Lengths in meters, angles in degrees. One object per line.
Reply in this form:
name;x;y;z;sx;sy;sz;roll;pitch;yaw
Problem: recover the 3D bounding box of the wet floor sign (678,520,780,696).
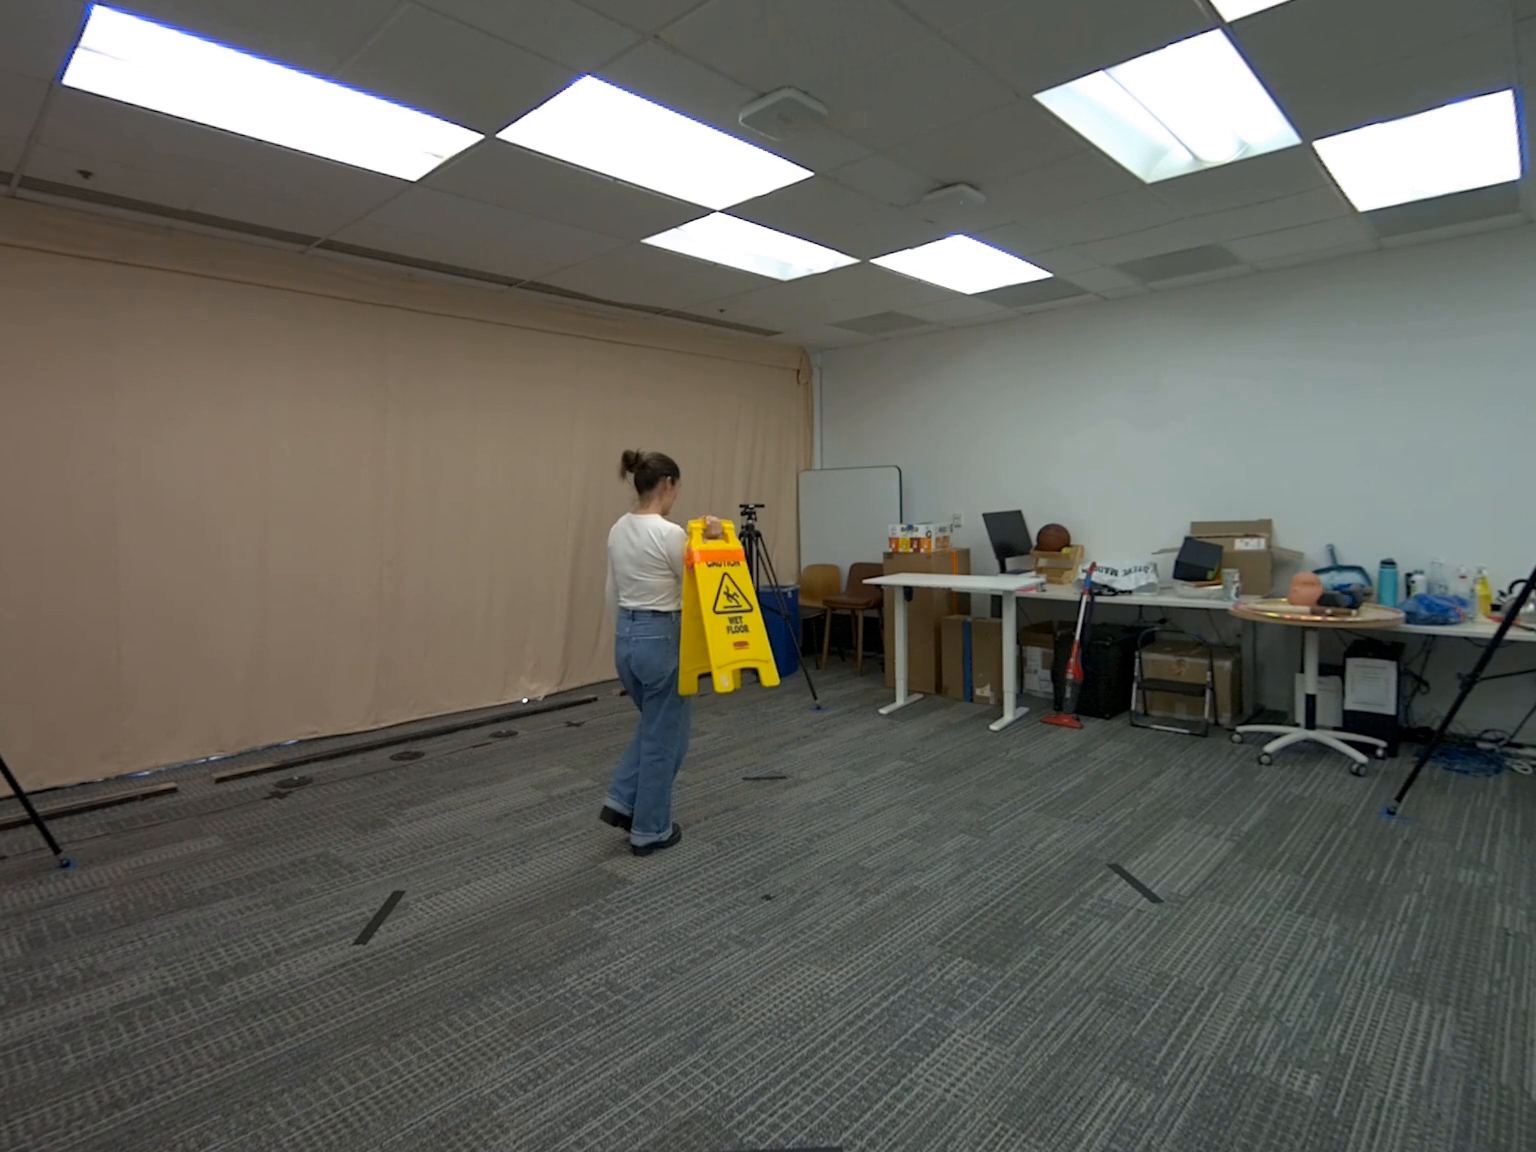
wet floor sign;-0.185;0.108;3.186;0.274;0.650;0.297;-1;-9;-36
